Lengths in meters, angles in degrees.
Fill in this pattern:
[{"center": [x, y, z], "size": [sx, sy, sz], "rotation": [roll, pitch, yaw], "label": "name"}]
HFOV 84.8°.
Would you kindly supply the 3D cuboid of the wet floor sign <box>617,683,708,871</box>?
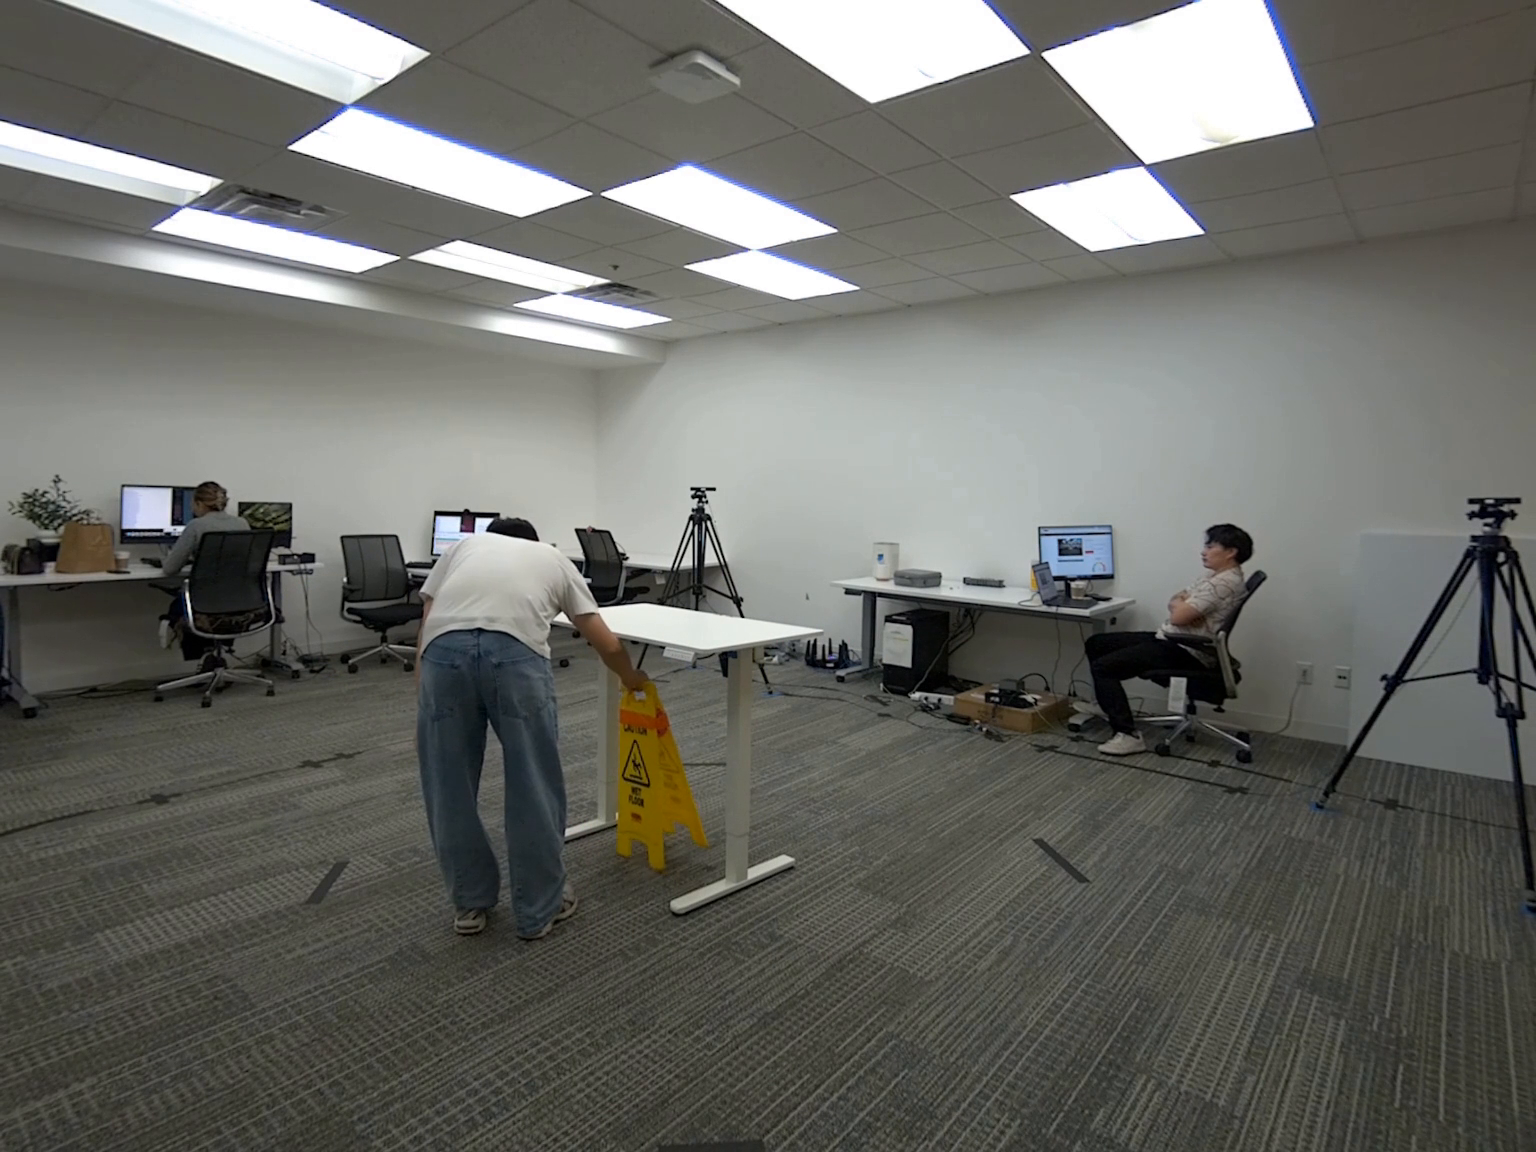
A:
[{"center": [-0.455, 0.705, 3.175], "size": [0.282, 0.644, 0.291], "rotation": [-10, 5, -41], "label": "wet floor sign"}]
